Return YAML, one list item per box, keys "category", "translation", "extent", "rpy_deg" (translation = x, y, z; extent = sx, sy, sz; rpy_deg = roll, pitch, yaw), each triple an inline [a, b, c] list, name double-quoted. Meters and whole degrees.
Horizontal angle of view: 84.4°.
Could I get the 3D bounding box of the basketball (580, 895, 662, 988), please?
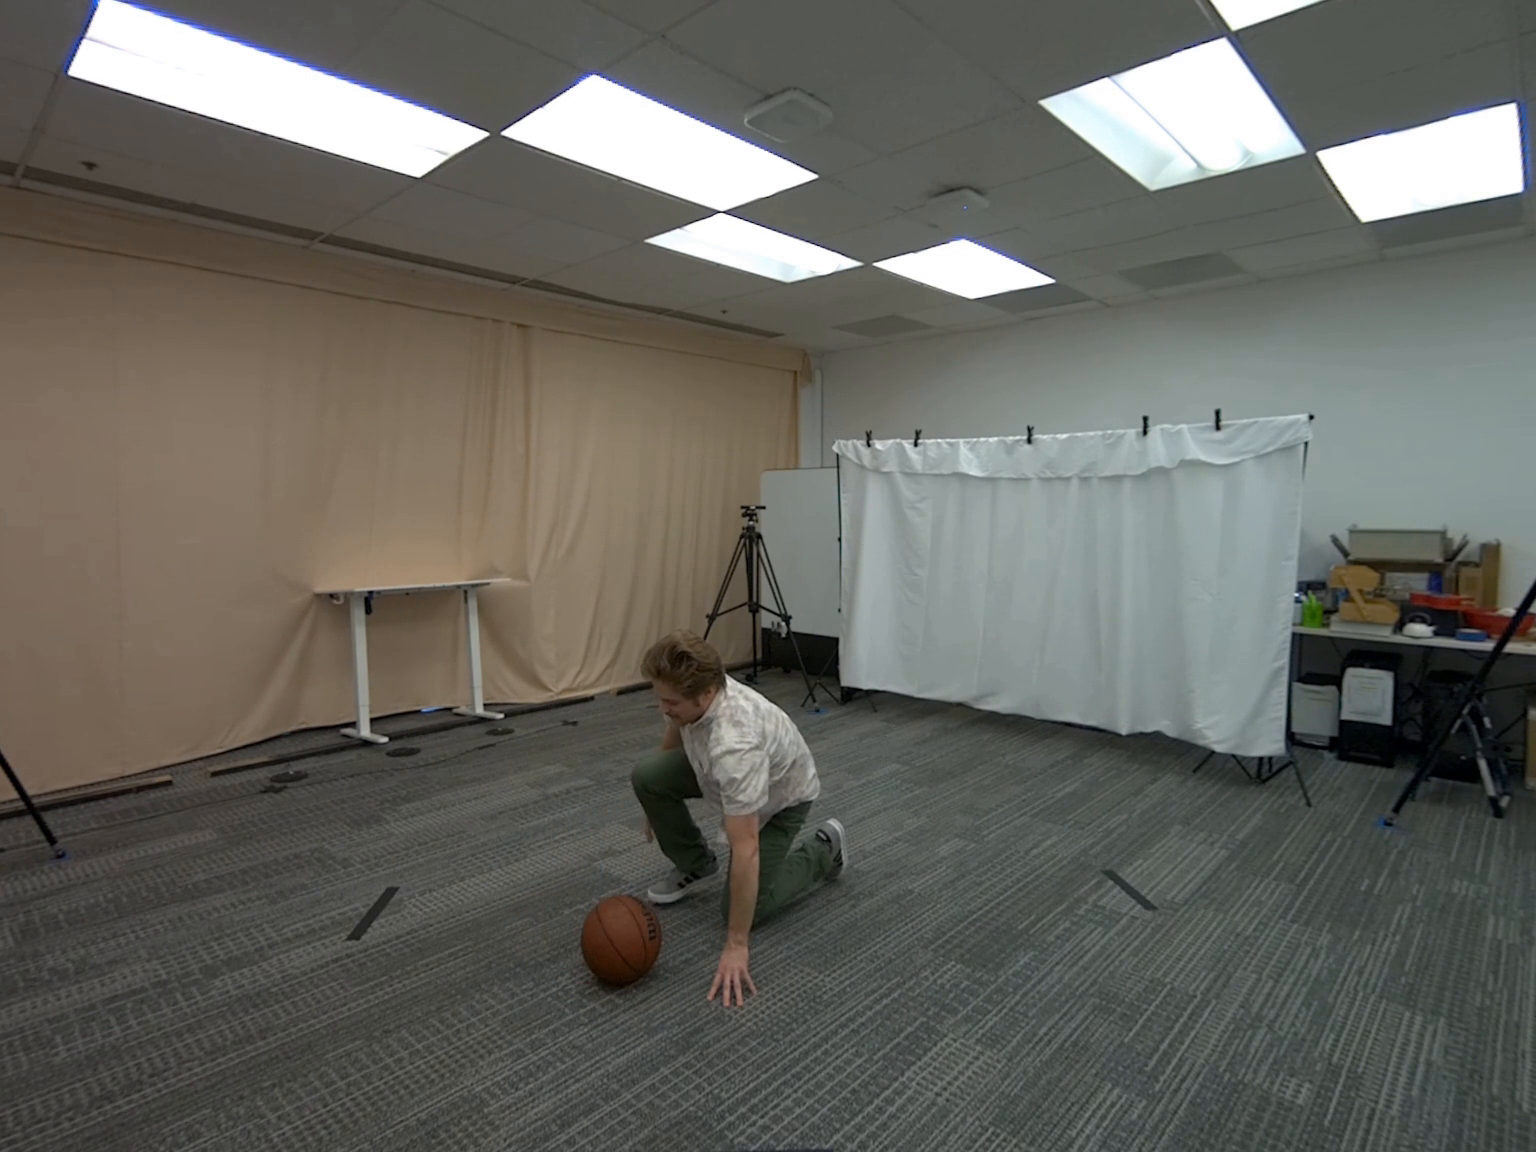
- category: "basketball"
  translation: [-0.432, 1.066, 2.478]
  extent: [0.236, 0.235, 0.237]
  rpy_deg: [0, 4, -2]
